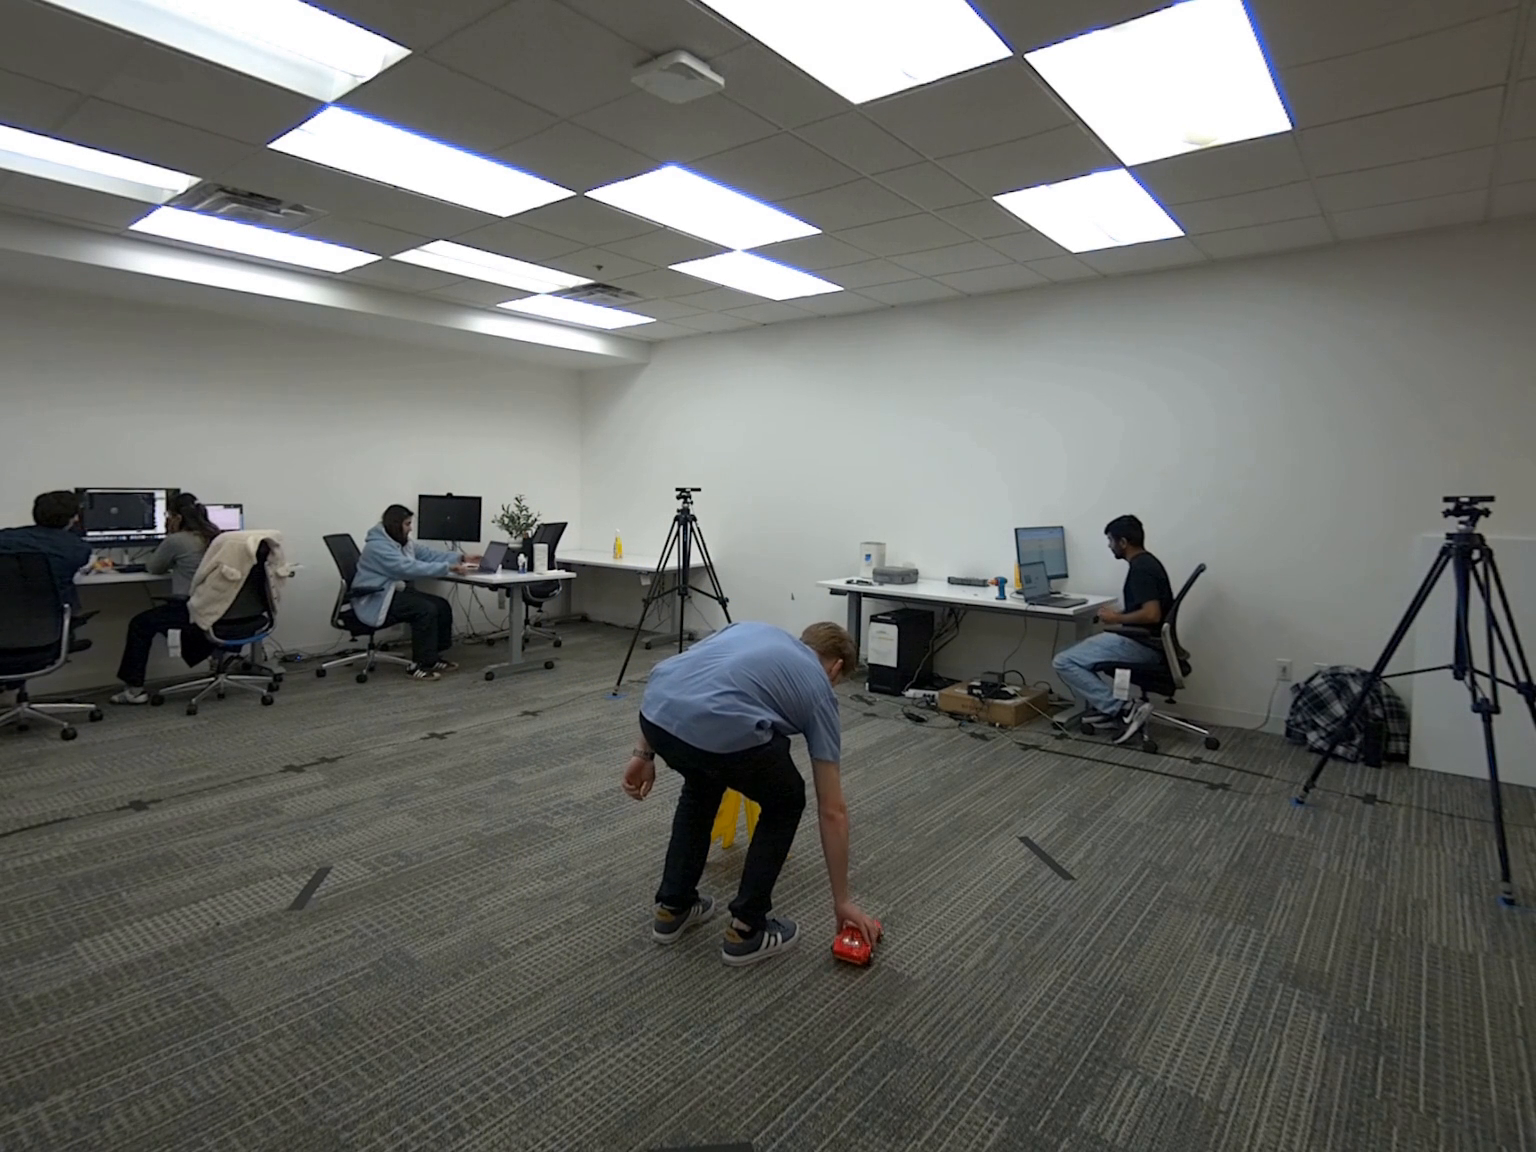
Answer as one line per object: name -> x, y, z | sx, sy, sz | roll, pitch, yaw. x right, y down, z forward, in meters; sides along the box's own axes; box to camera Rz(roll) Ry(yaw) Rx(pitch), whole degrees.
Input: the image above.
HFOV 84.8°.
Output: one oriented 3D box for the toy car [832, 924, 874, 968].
toy car -> 0.257, 1.102, 2.572 | 0.133, 0.083, 0.247 | 6, -5, 20
